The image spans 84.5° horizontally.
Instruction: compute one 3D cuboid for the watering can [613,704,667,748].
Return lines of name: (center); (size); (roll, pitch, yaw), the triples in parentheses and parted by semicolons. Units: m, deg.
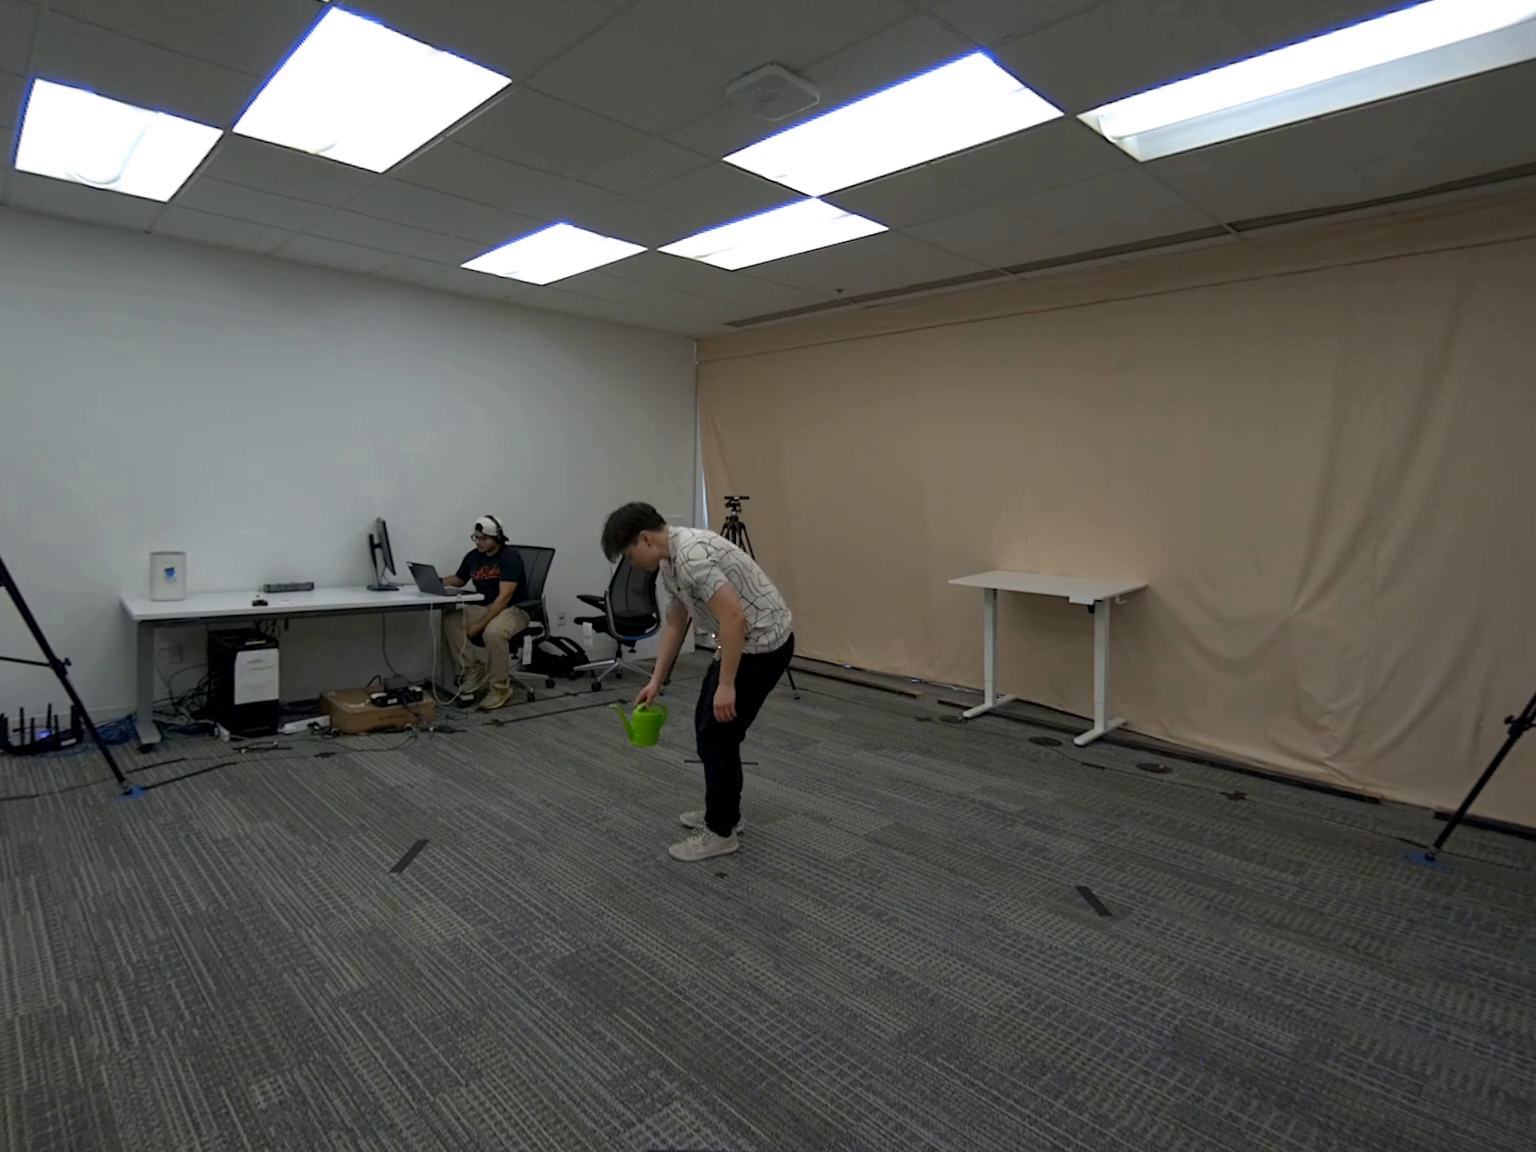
watering can: (-0.531, 0.591, 3.420); (0.272, 0.176, 0.100); (7, 5, -27)
